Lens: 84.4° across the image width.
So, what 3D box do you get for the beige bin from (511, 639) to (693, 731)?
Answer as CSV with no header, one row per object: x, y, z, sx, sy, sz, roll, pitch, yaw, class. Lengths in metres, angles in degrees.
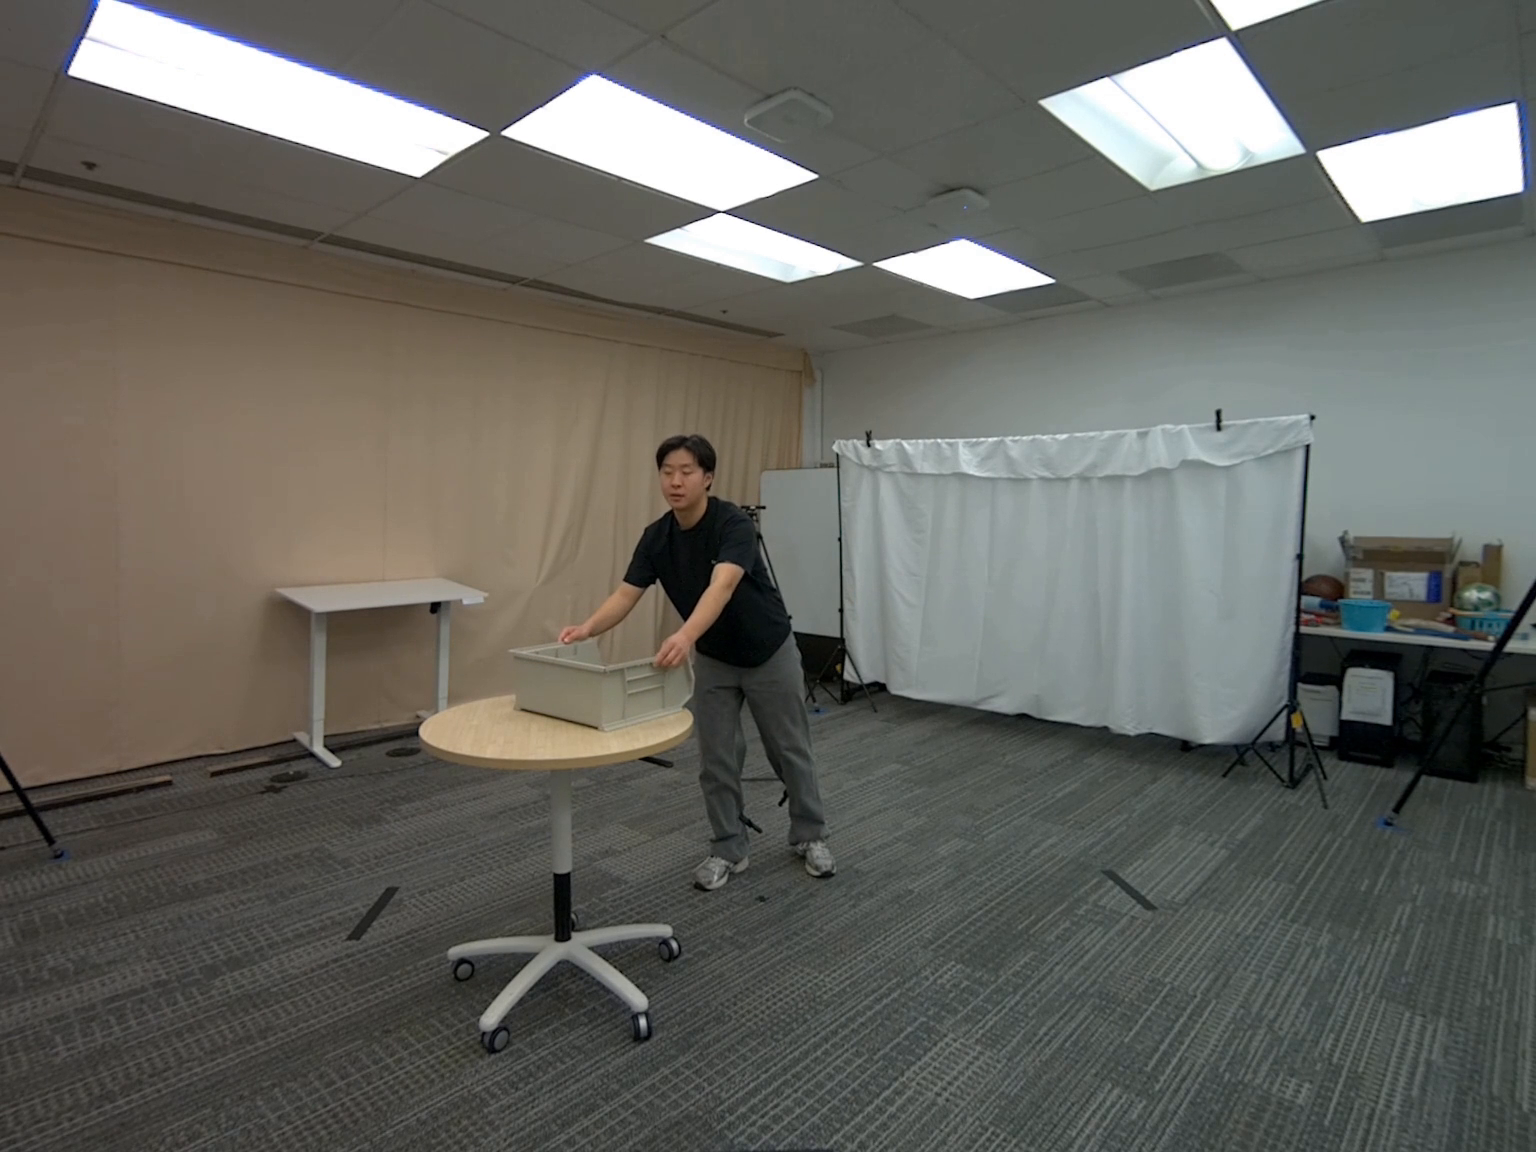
-0.504,0.315,2.531,0.436,0.188,0.366,4,7,37,beige bin
